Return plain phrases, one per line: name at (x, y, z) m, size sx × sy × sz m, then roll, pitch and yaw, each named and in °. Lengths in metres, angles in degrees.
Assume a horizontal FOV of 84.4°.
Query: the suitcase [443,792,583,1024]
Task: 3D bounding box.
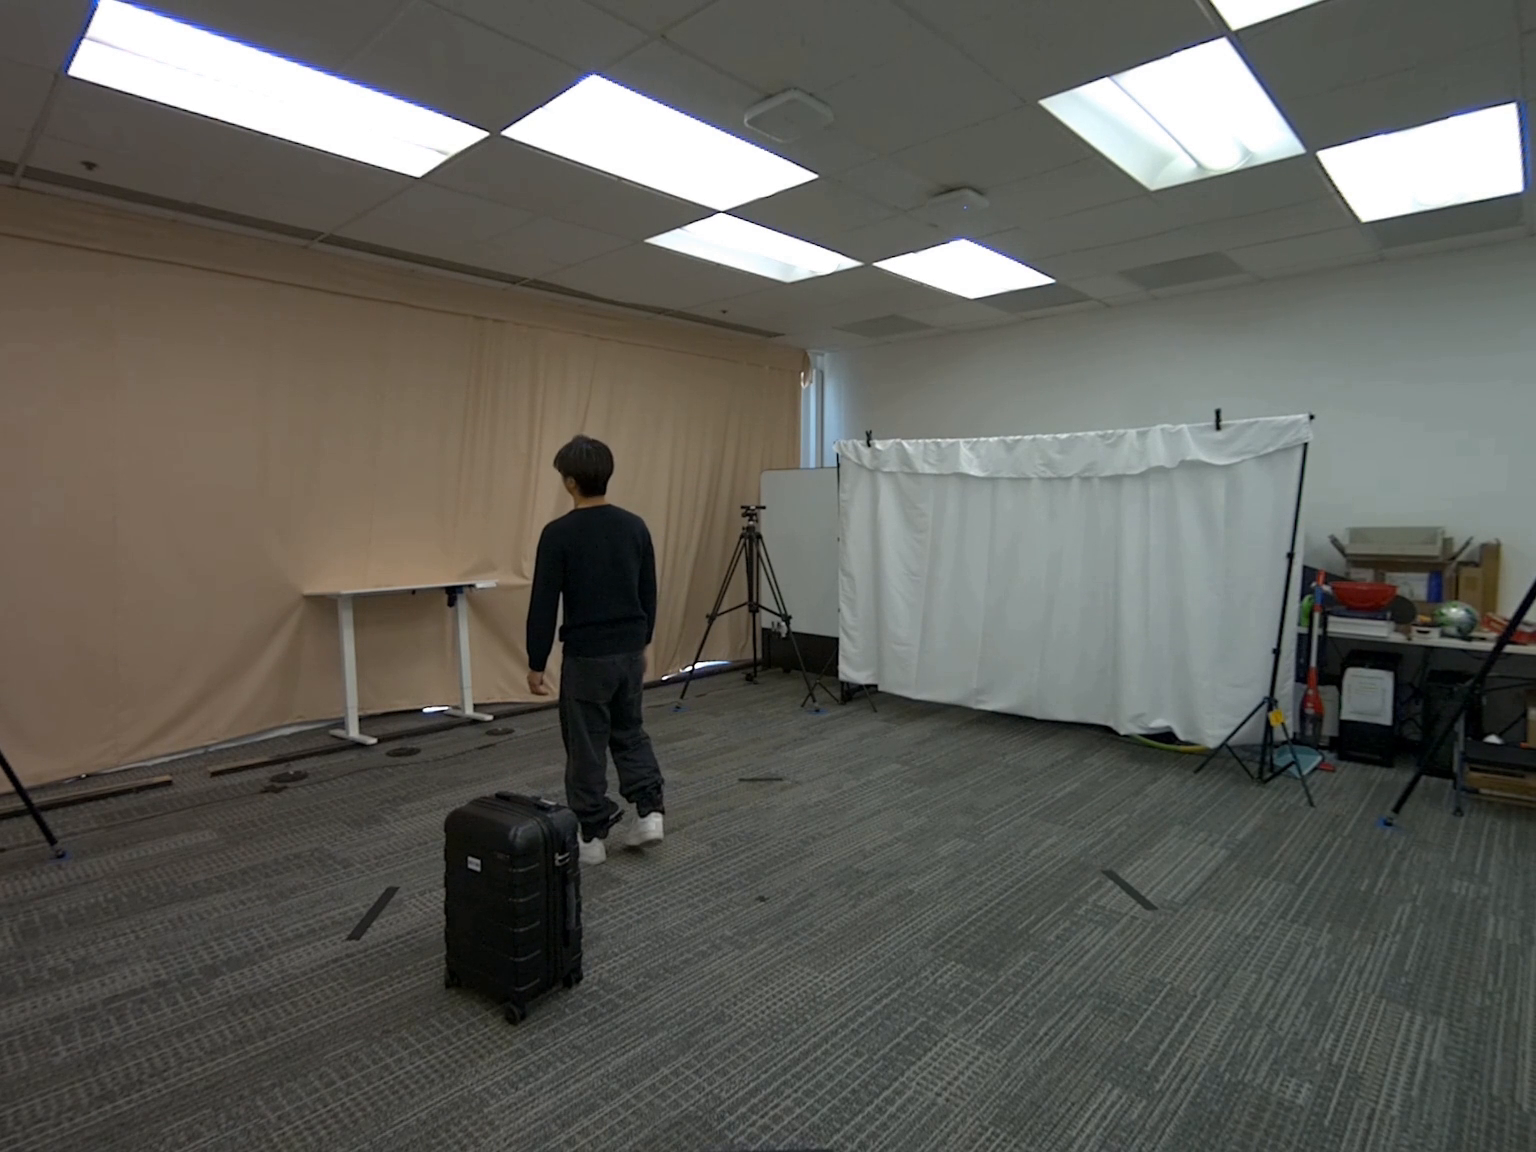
suitcase at (-0.729, 0.922, 2.419) m, size 0.387 × 0.547 × 0.241 m, roll 4°, pitch 7°, yaw 34°
